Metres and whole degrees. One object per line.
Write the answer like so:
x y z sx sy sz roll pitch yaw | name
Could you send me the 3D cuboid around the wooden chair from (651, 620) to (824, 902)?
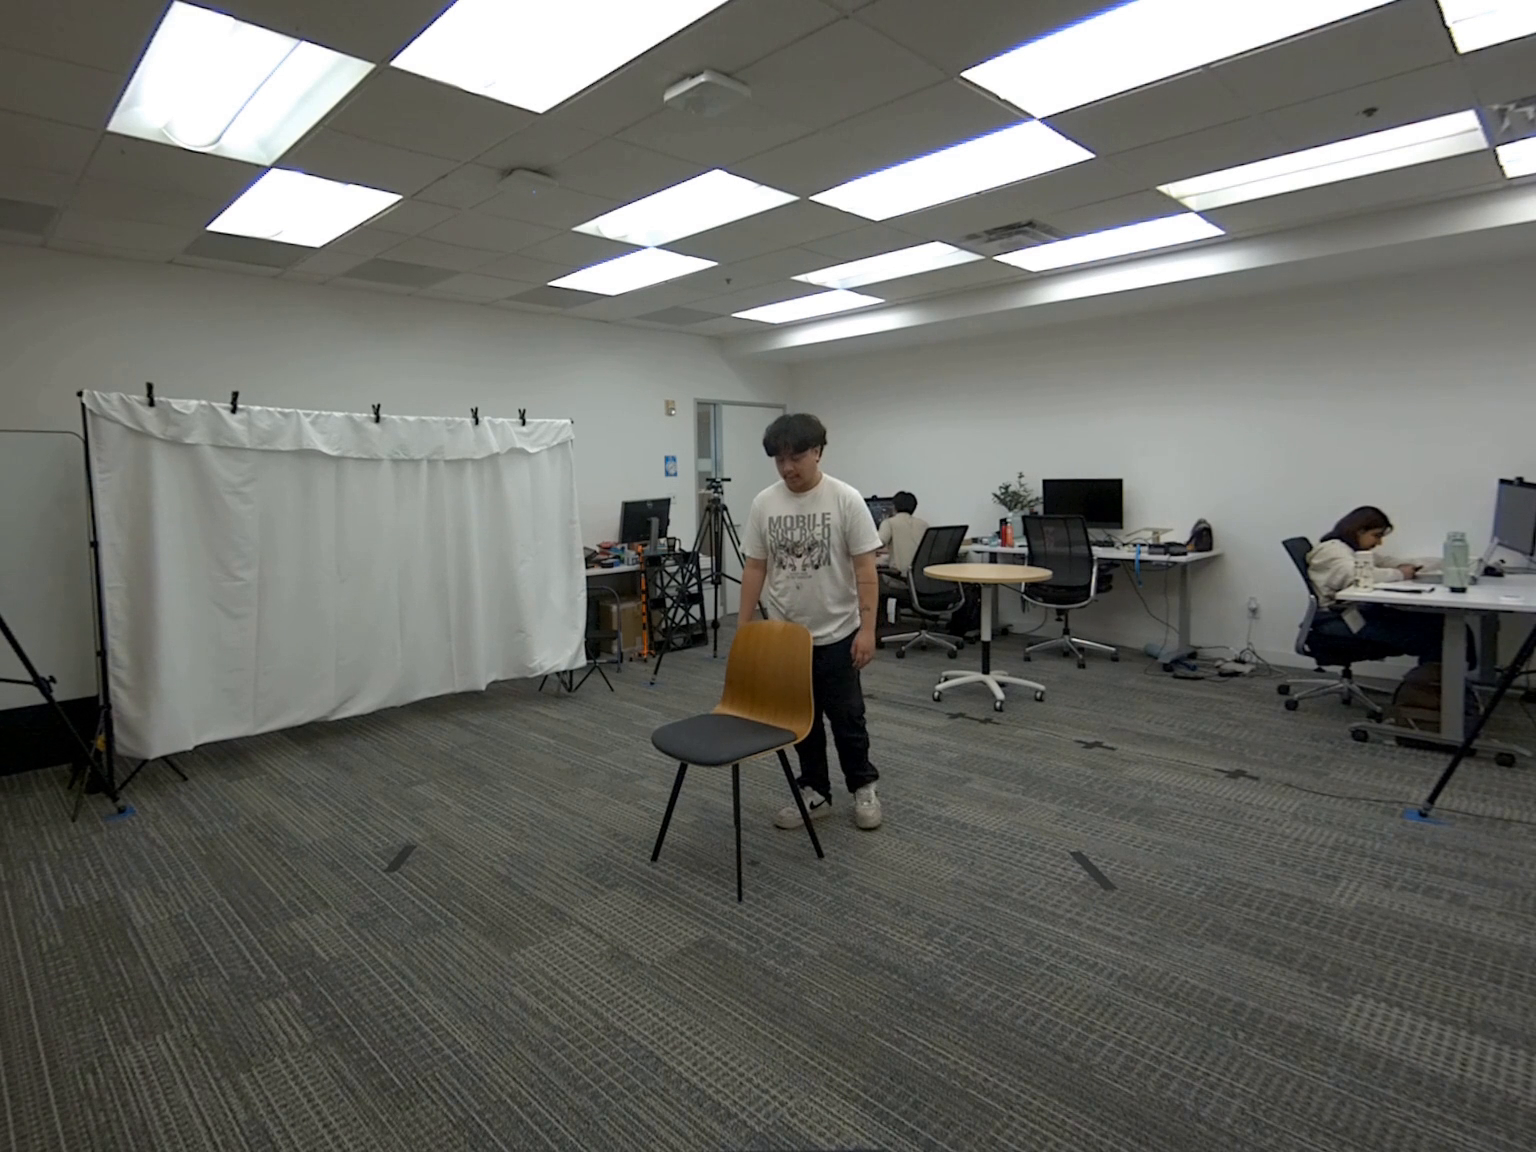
-0.123 0.616 3.094 0.493 0.877 0.508 3 2 43 | wooden chair
